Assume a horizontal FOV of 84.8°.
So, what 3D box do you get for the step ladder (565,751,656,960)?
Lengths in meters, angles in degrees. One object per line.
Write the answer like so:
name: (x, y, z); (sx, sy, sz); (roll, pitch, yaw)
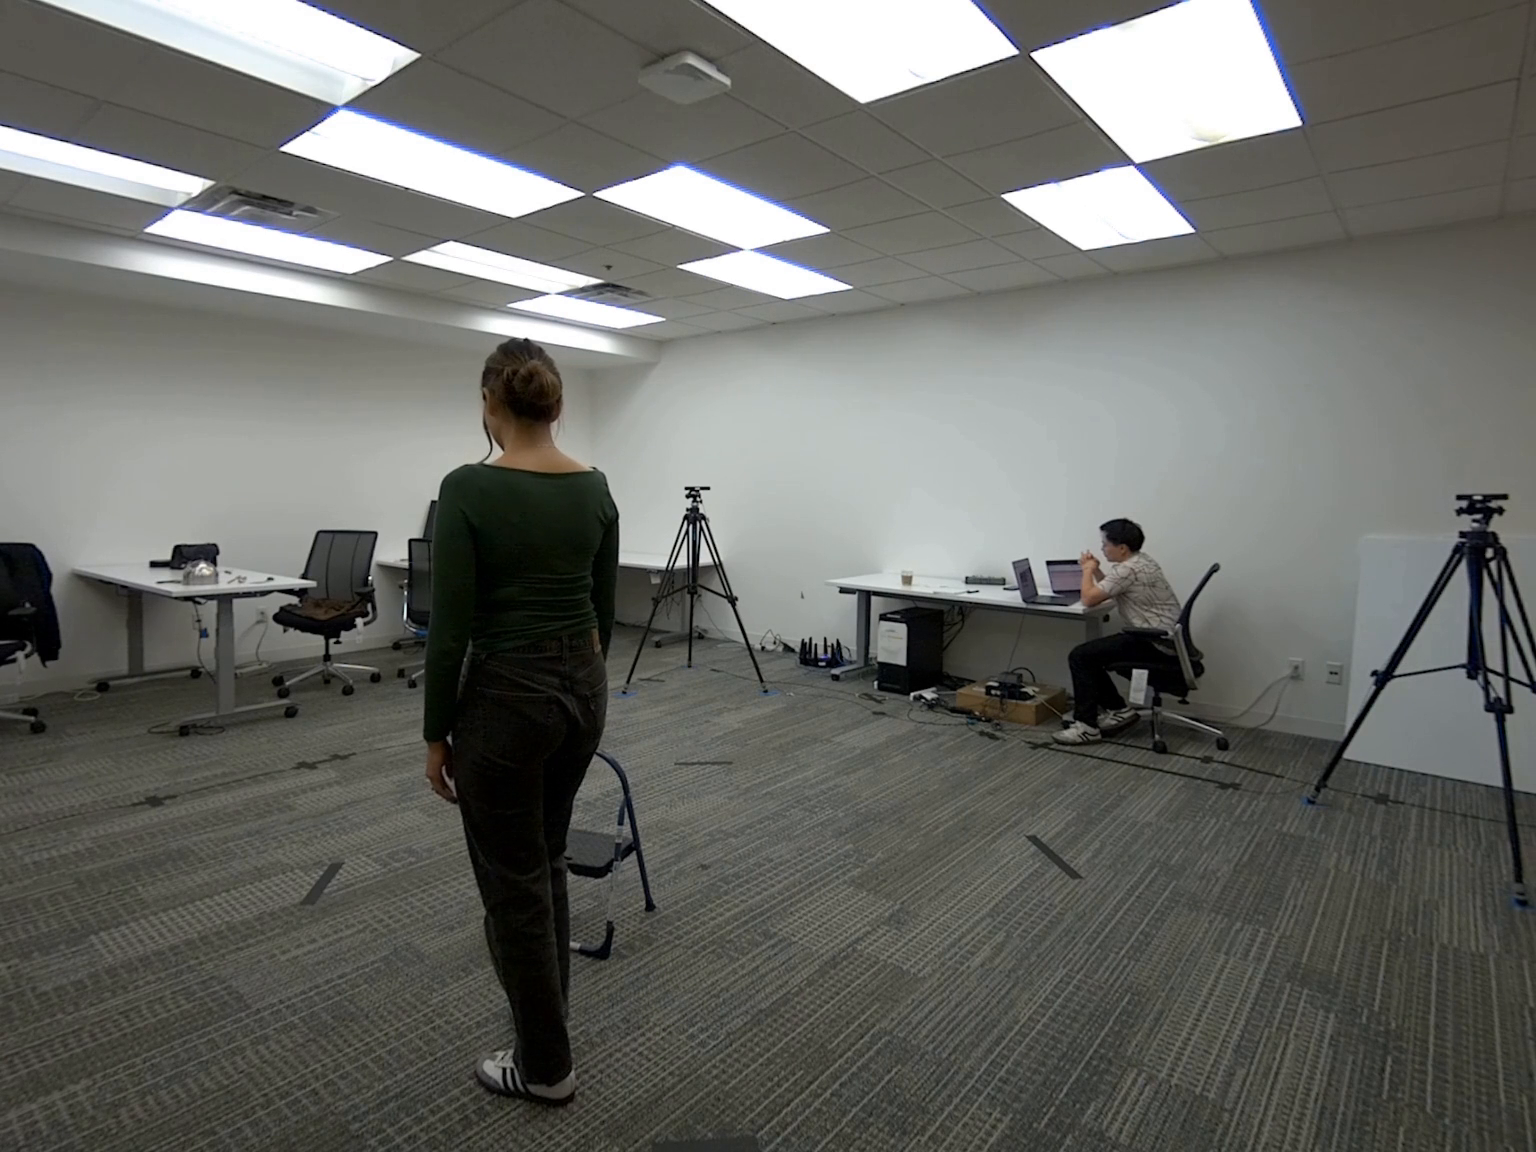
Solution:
step ladder: (-0.628, 0.797, 2.698); (0.439, 0.604, 0.344); (2, 4, 18)
